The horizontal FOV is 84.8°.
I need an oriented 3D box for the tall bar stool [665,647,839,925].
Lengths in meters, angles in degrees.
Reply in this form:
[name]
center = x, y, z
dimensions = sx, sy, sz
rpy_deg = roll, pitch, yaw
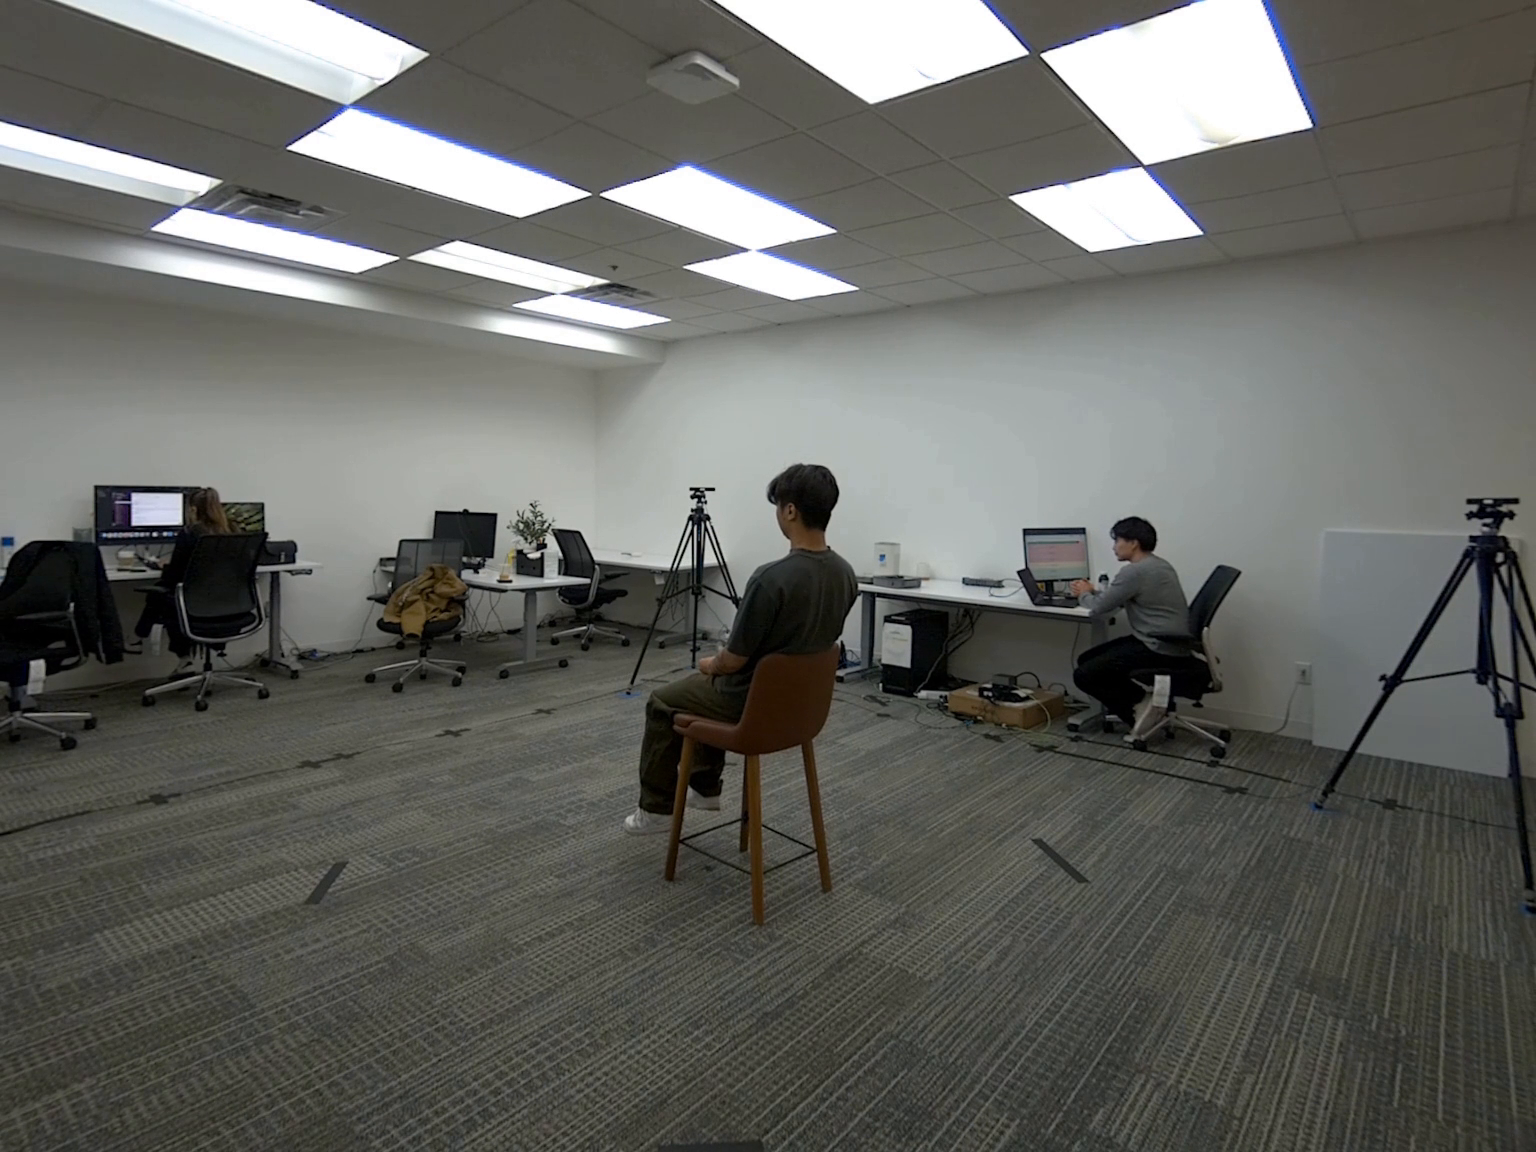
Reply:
[tall bar stool]
center = -0.049, 0.651, 2.959
dimensions = 0.484, 0.886, 0.442
rpy_deg = 8, 6, 44
